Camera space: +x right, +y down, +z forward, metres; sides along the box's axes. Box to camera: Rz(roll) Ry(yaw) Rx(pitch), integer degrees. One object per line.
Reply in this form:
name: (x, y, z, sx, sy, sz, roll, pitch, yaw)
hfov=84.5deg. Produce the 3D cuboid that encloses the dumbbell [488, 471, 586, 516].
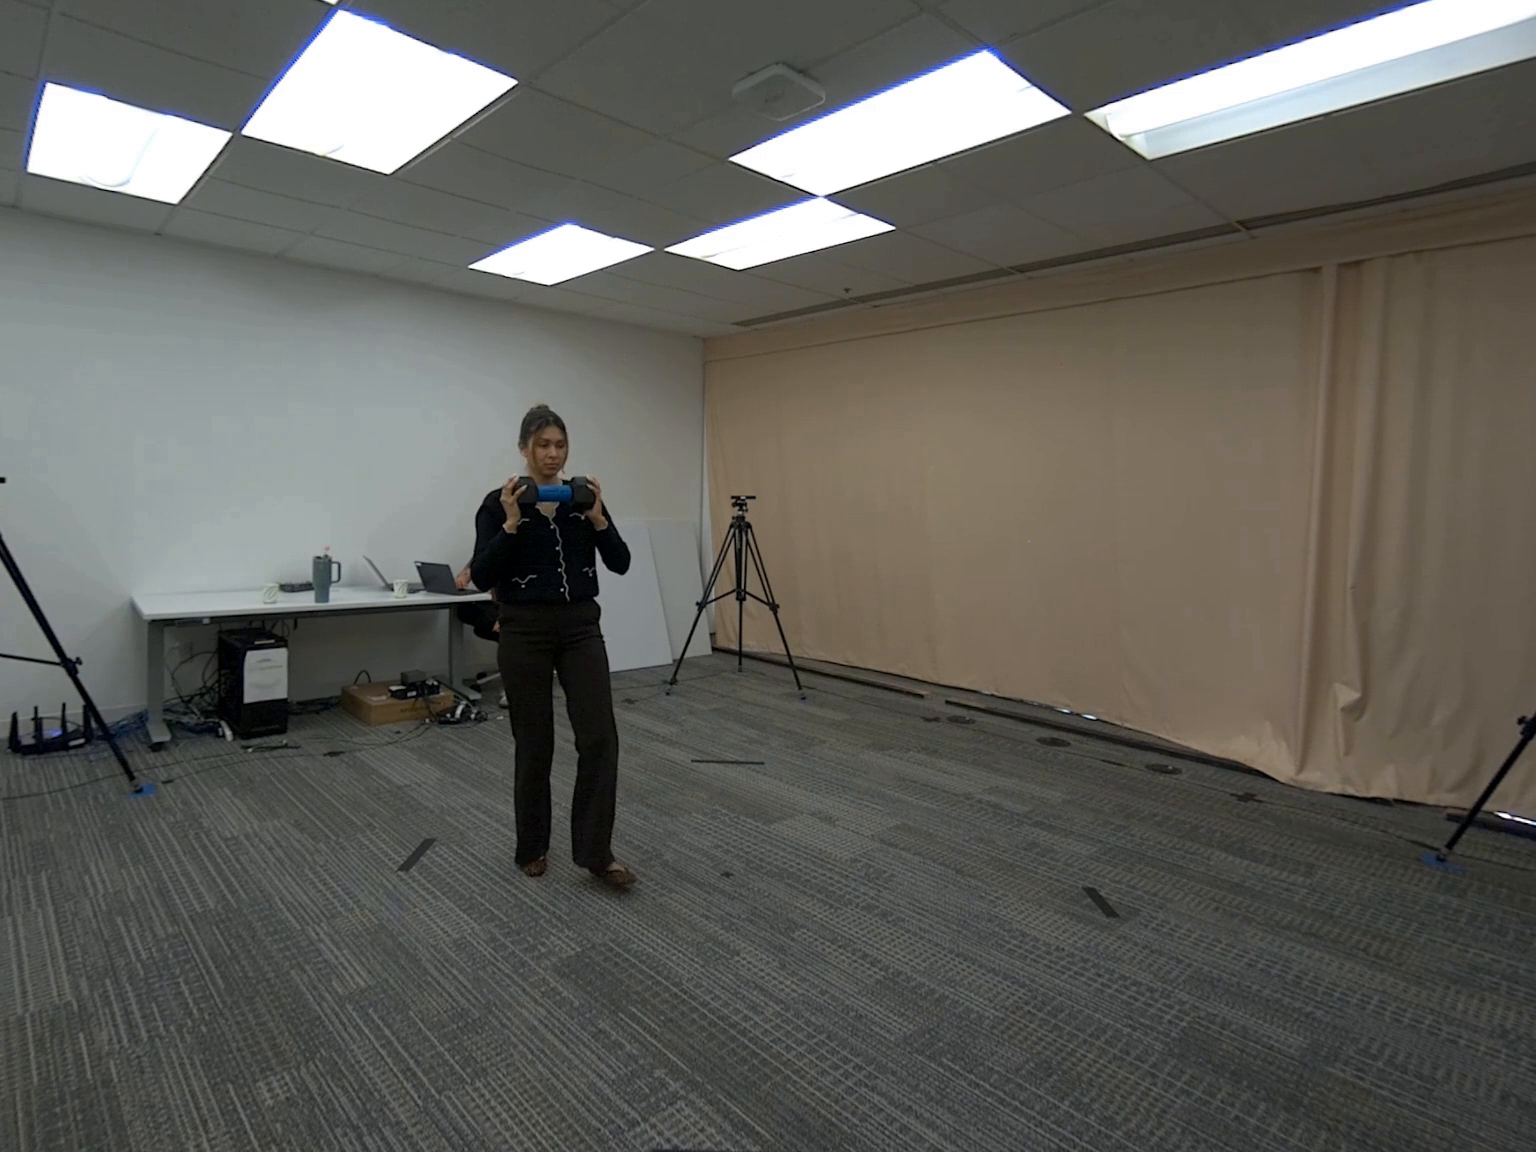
dumbbell: (-0.815, -0.294, 2.985, 0.287, 0.110, 0.123, -5, -21, -35)
